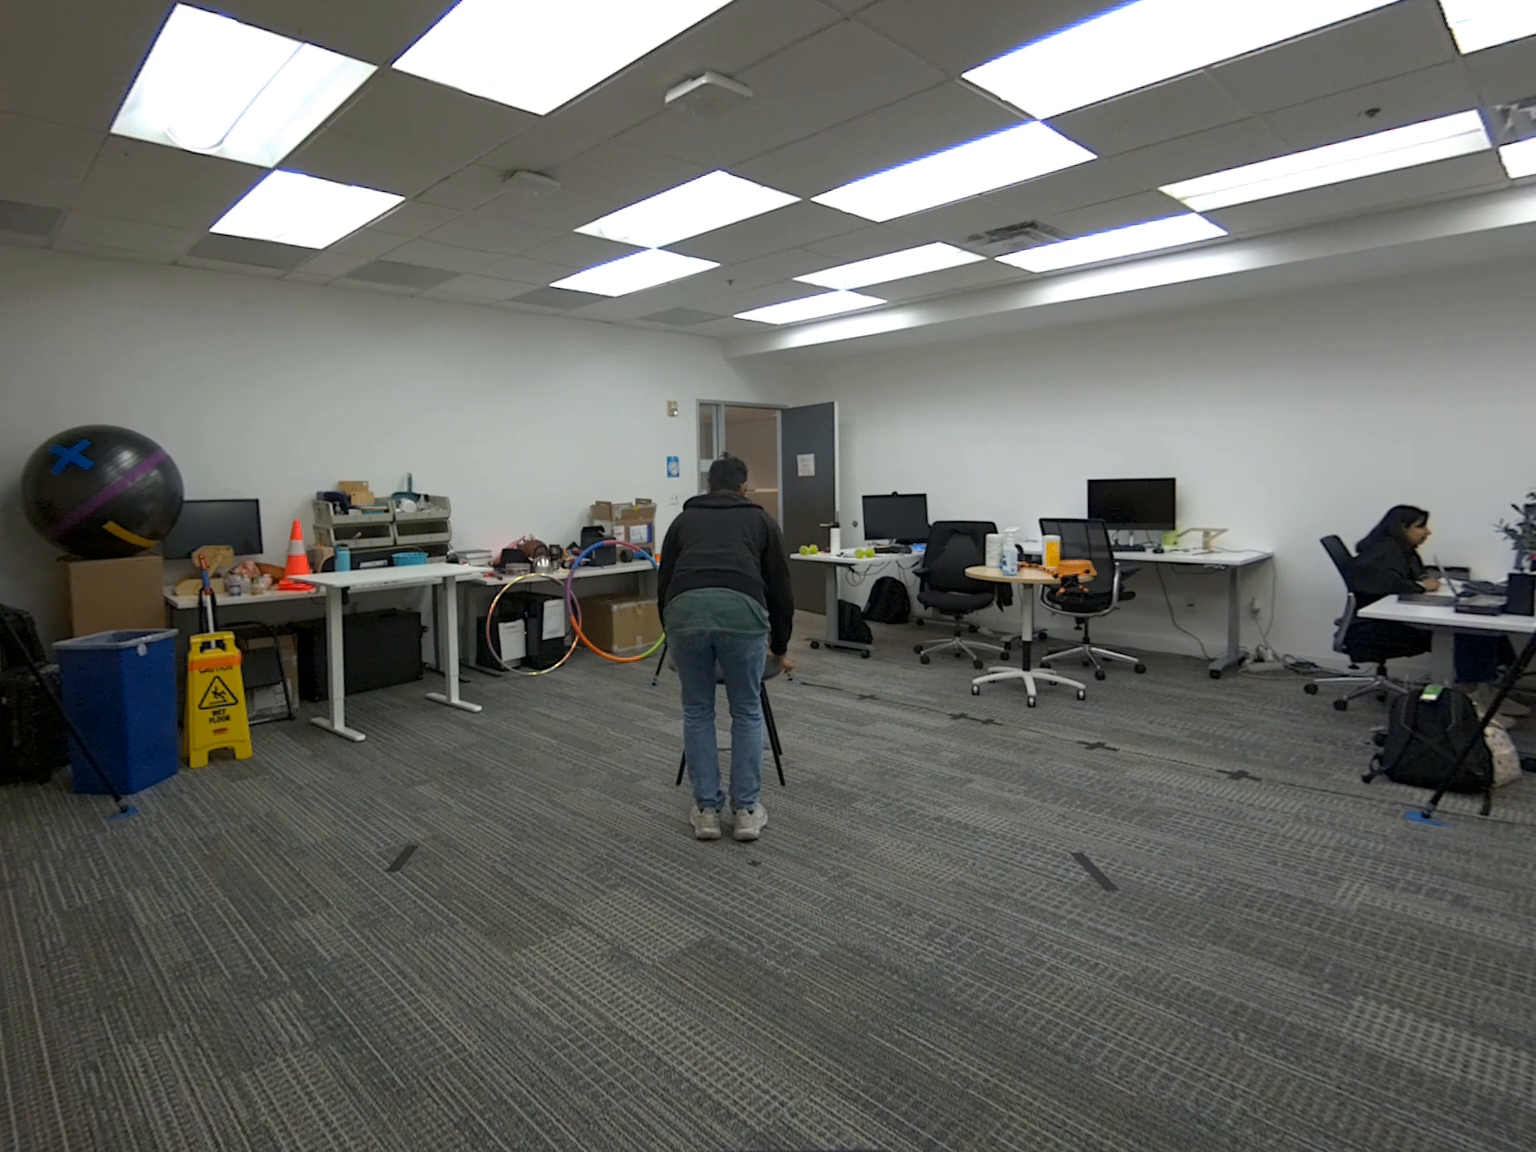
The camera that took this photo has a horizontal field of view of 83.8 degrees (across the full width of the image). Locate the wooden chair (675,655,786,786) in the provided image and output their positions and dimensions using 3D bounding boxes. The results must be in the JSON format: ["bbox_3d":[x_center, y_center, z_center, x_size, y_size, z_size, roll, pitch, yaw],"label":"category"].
[{"bbox_3d":[-0.151,0.418,3.724,0.479,0.879,0.522,0,-2,0],"label":"wooden chair"}]
